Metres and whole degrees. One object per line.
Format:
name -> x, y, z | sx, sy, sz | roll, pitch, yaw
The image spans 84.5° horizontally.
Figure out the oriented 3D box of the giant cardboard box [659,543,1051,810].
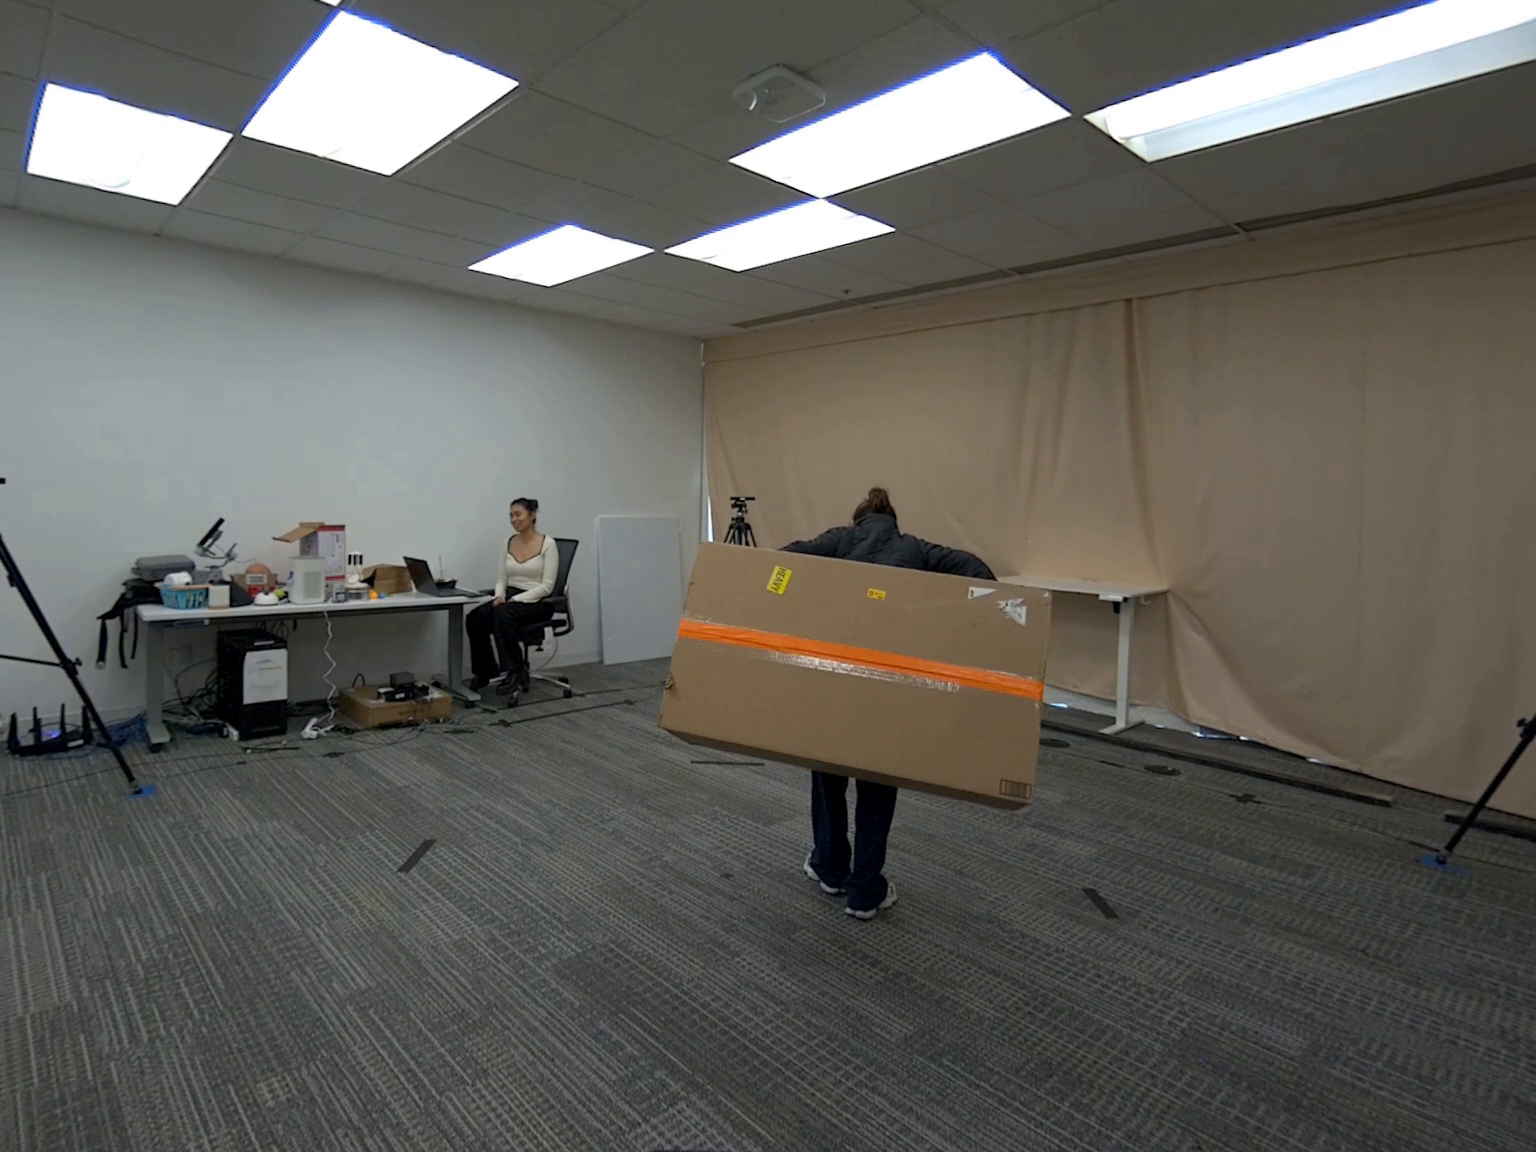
giant cardboard box -> 0.253, 0.294, 2.521 | 1.039, 0.583, 0.417 | 8, -18, 14
